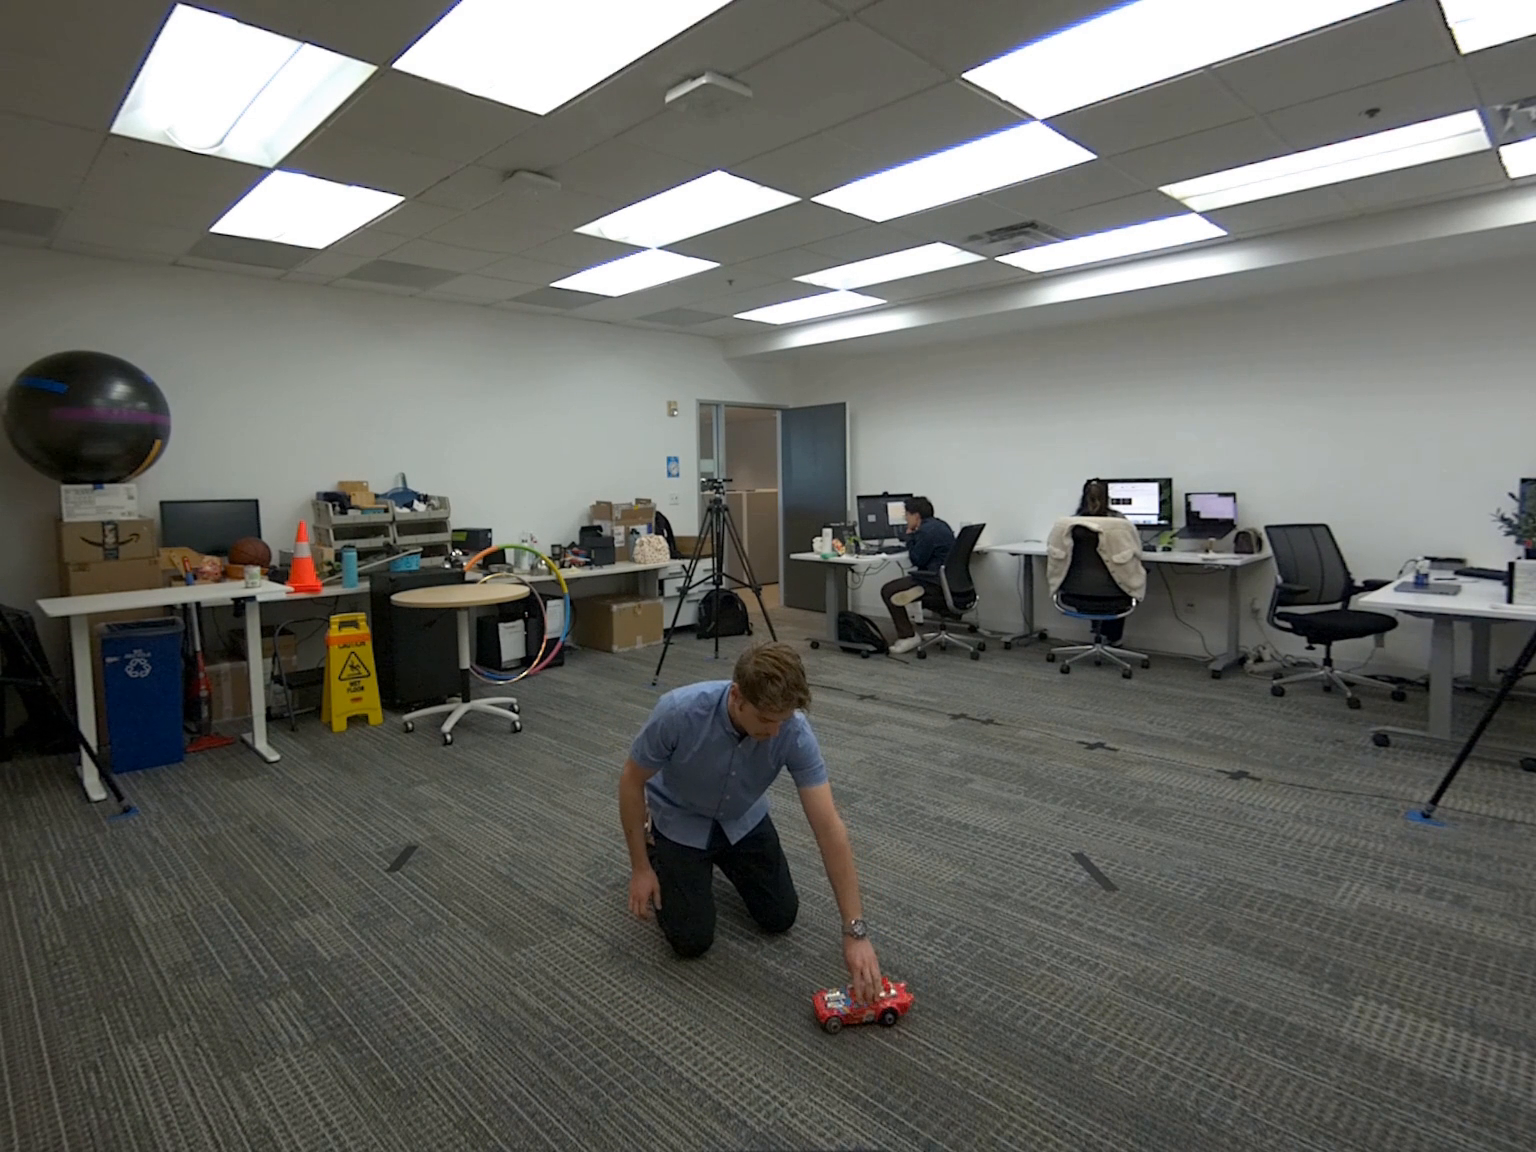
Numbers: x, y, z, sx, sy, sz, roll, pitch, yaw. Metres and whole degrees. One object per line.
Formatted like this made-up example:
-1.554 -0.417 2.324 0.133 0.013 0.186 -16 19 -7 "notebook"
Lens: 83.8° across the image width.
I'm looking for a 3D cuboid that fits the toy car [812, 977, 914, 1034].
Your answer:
0.260 1.114 2.215 0.253 0.083 0.132 -14 7 -8 "toy car"
